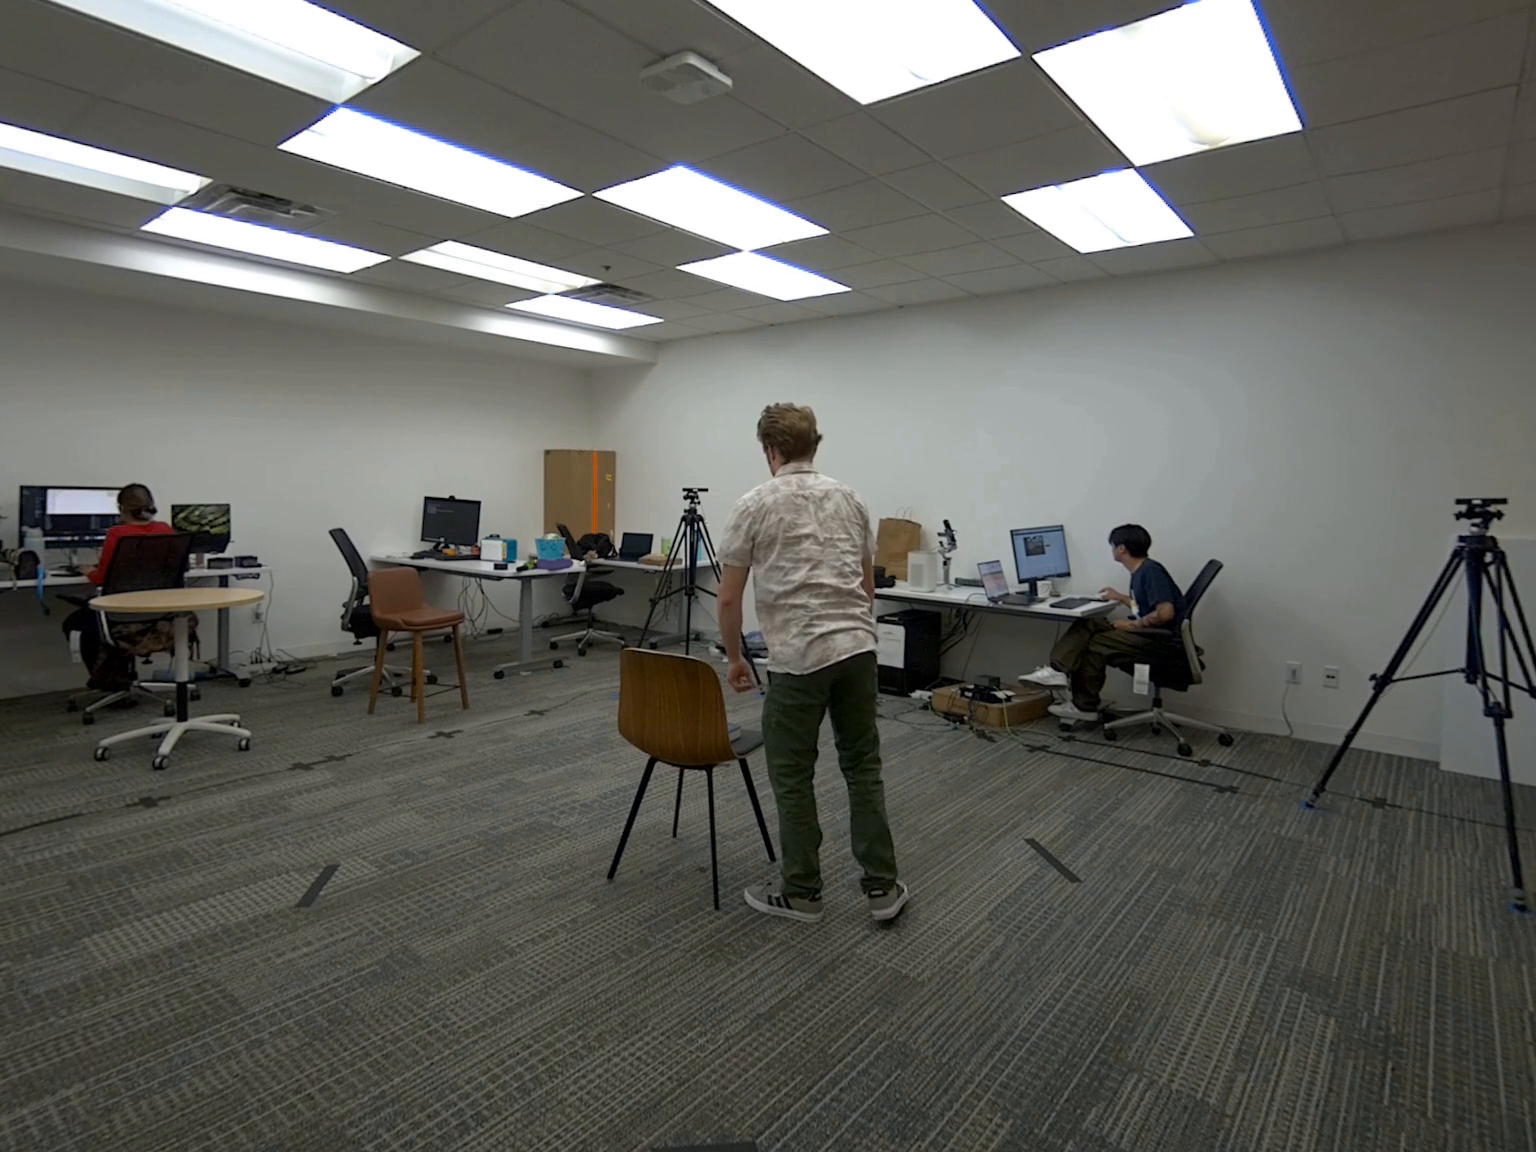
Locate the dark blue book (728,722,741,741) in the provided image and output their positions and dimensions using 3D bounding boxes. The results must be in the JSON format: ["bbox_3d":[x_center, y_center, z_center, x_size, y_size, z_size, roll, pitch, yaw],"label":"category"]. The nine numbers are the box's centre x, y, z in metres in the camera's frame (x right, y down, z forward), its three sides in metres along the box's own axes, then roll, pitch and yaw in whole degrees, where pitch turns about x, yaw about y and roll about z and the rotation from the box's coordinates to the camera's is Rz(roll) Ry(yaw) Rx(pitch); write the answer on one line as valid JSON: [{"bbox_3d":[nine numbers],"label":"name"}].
[{"bbox_3d":[-0.253,0.561,3.110,0.253,0.045,0.159,6,10,37],"label":"dark blue book"}]
